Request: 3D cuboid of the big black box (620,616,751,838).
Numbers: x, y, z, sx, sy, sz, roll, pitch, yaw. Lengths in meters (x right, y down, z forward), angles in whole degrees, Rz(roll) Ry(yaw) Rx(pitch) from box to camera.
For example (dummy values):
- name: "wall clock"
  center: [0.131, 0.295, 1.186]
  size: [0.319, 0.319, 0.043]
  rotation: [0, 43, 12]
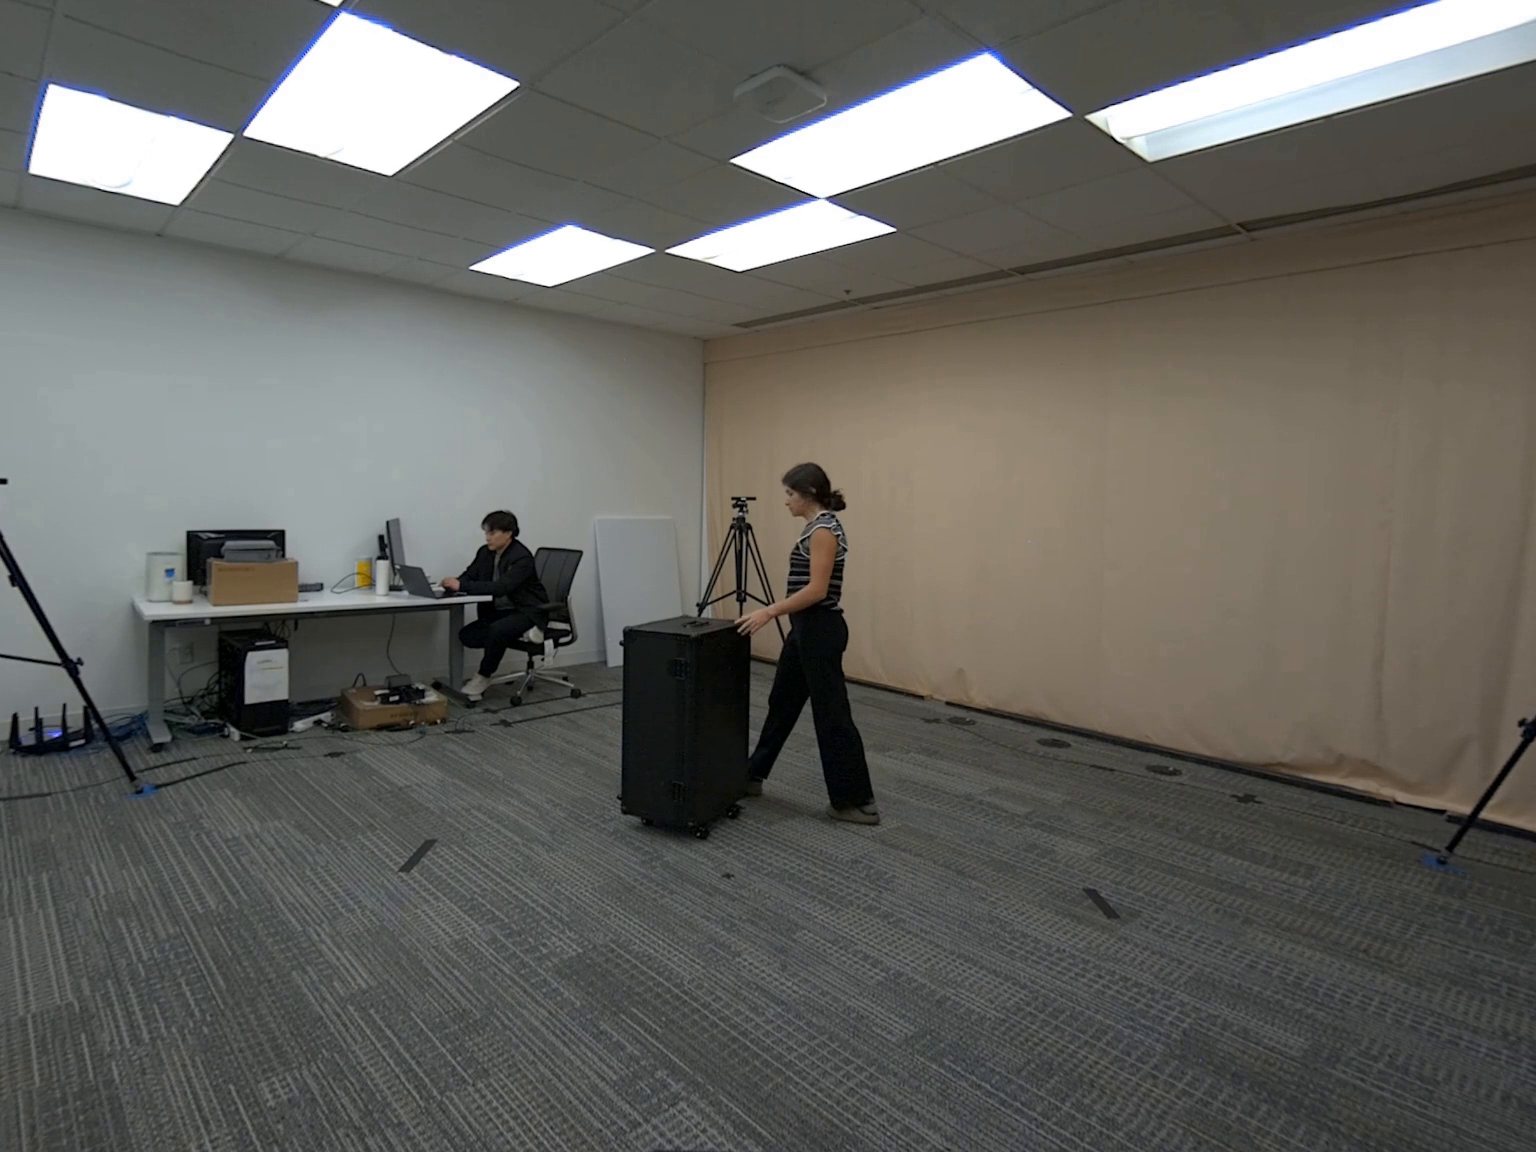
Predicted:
- name: "big black box"
  center: [-0.362, 0.633, 3.619]
  size: [0.404, 0.860, 0.511]
  rotation: [1, 3, 29]
